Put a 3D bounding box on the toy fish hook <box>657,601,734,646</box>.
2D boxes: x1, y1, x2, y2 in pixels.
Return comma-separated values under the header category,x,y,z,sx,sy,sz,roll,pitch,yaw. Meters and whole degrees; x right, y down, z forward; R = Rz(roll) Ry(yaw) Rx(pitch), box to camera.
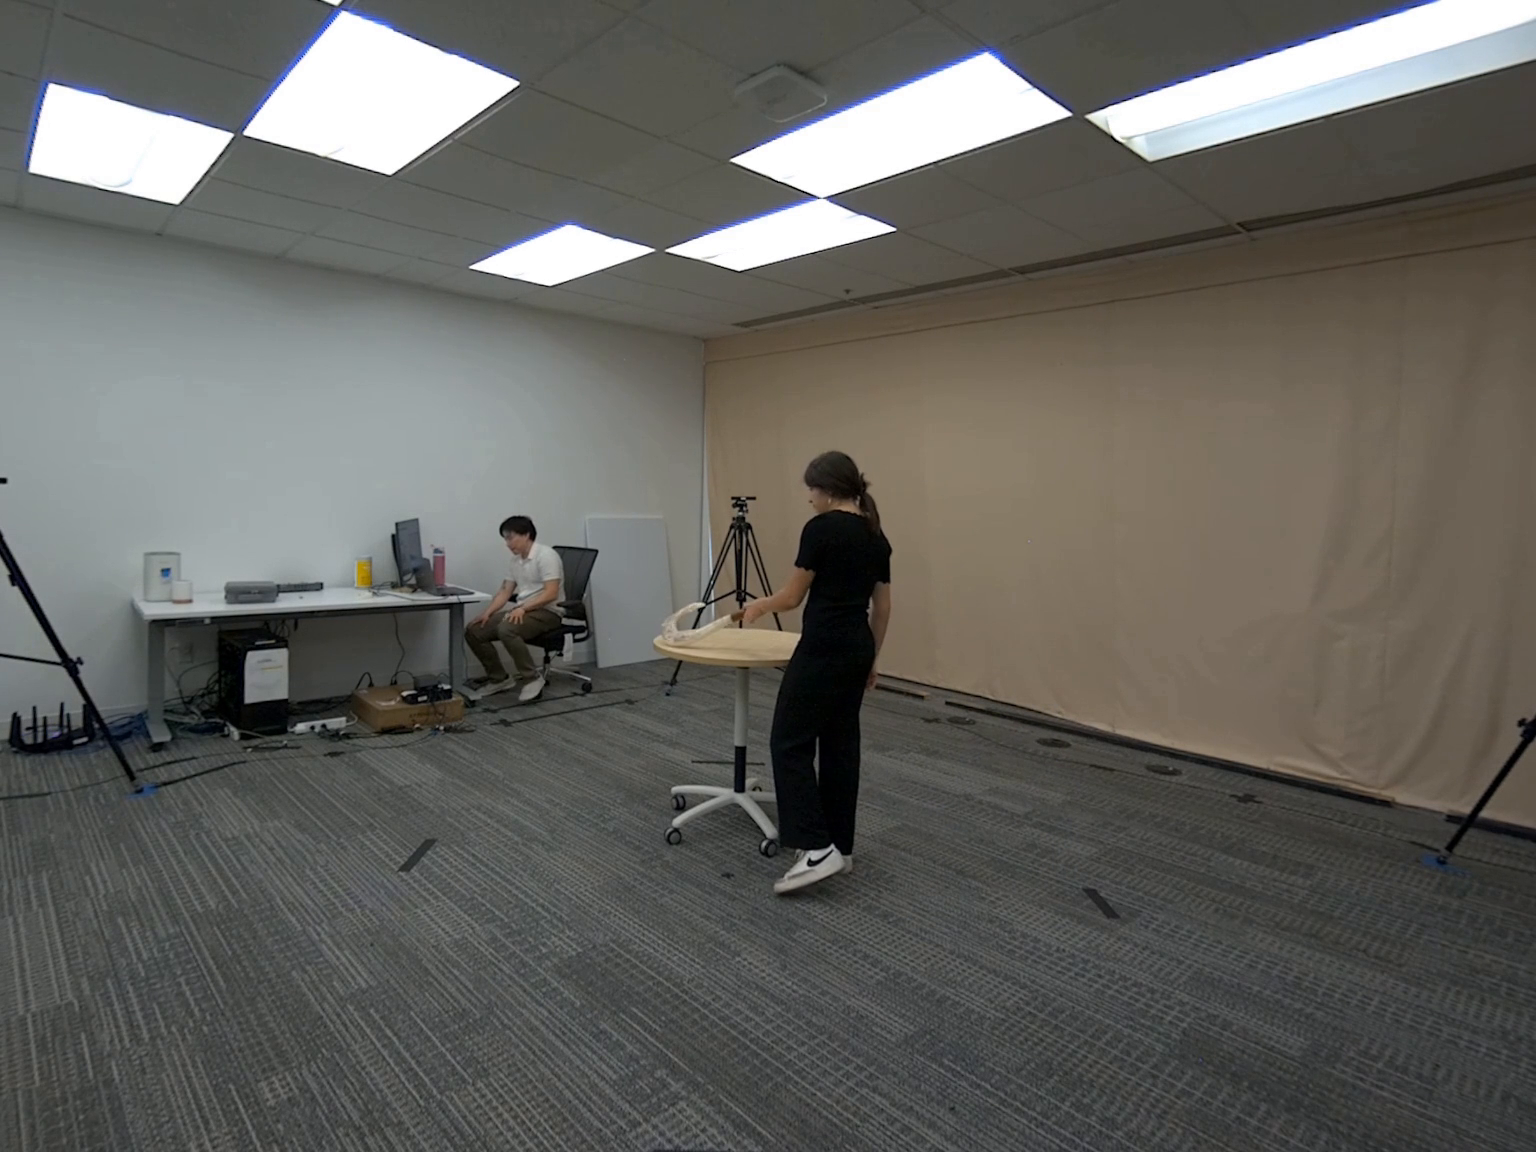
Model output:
category,x,y,z,sx,sy,sz,roll,pitch,yaw
toy fish hook,-0.203,0.160,3.434,0.509,0.047,0.230,-18,44,11
